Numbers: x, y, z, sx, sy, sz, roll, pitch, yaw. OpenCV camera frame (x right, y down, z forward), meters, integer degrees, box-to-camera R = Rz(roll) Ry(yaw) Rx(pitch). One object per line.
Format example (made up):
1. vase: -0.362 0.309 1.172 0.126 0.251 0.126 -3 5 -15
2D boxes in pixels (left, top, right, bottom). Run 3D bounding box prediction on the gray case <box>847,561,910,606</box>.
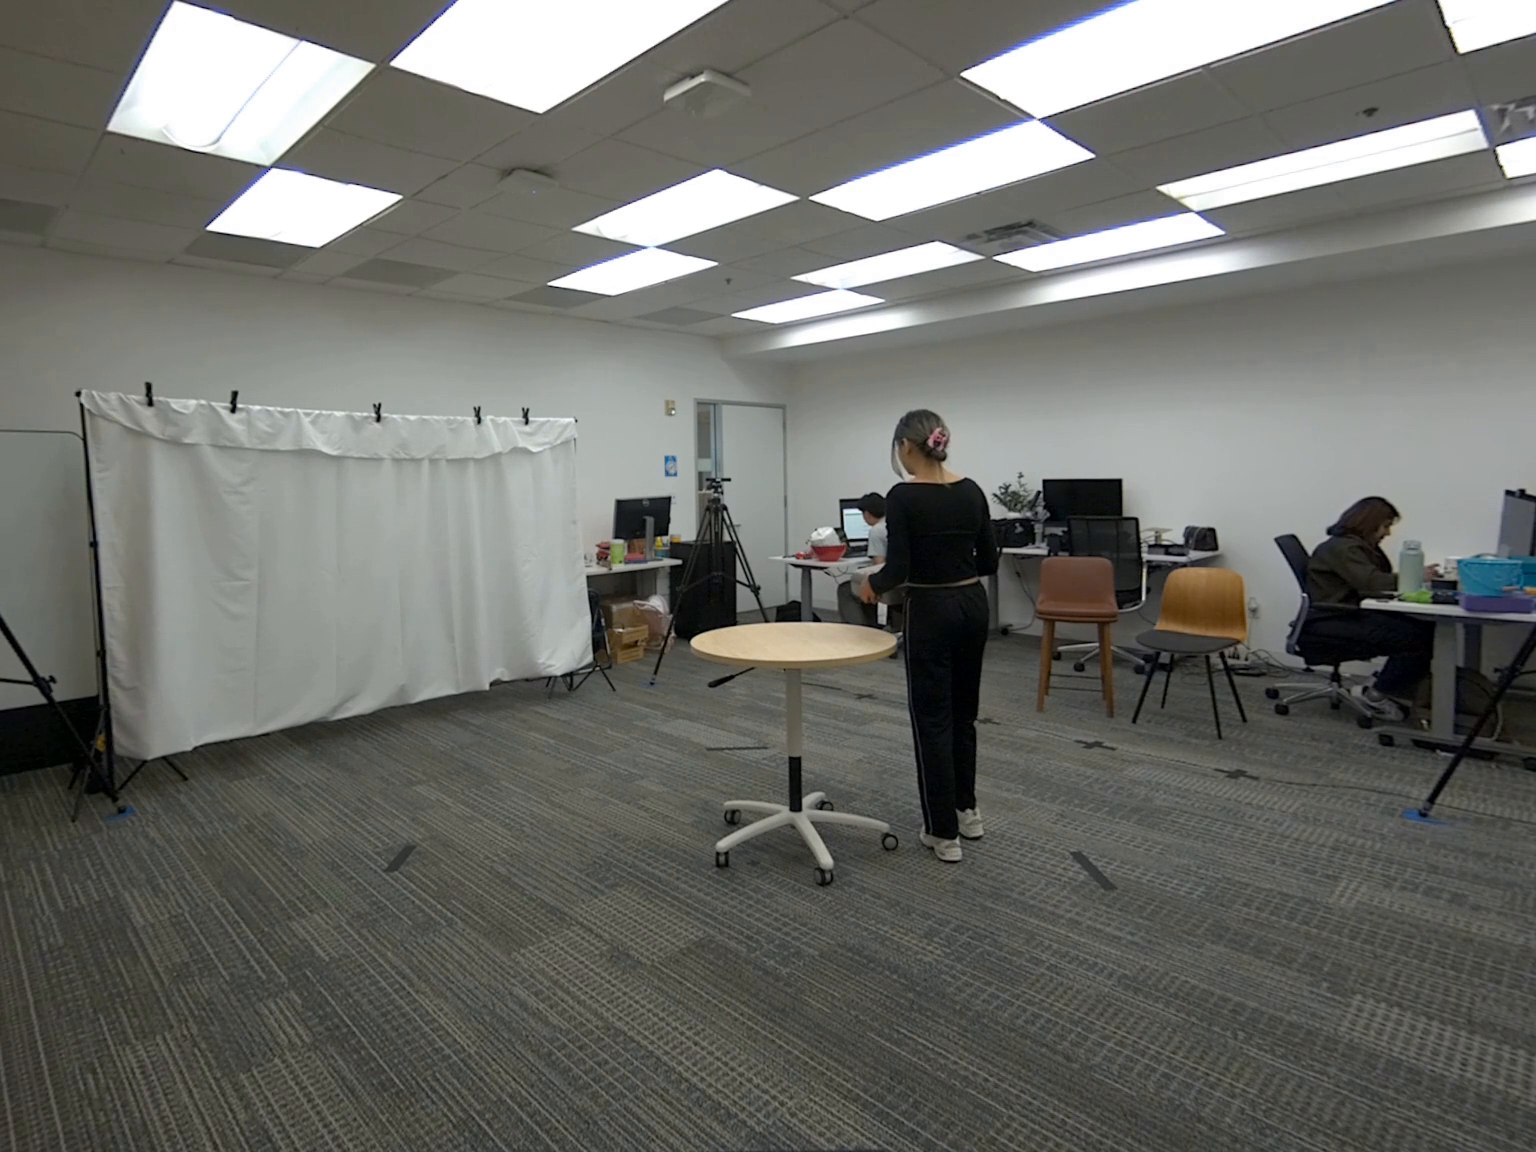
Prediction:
1. gray case: 0.481 0.024 3.404 0.254 0.103 0.266 -4 13 -12
